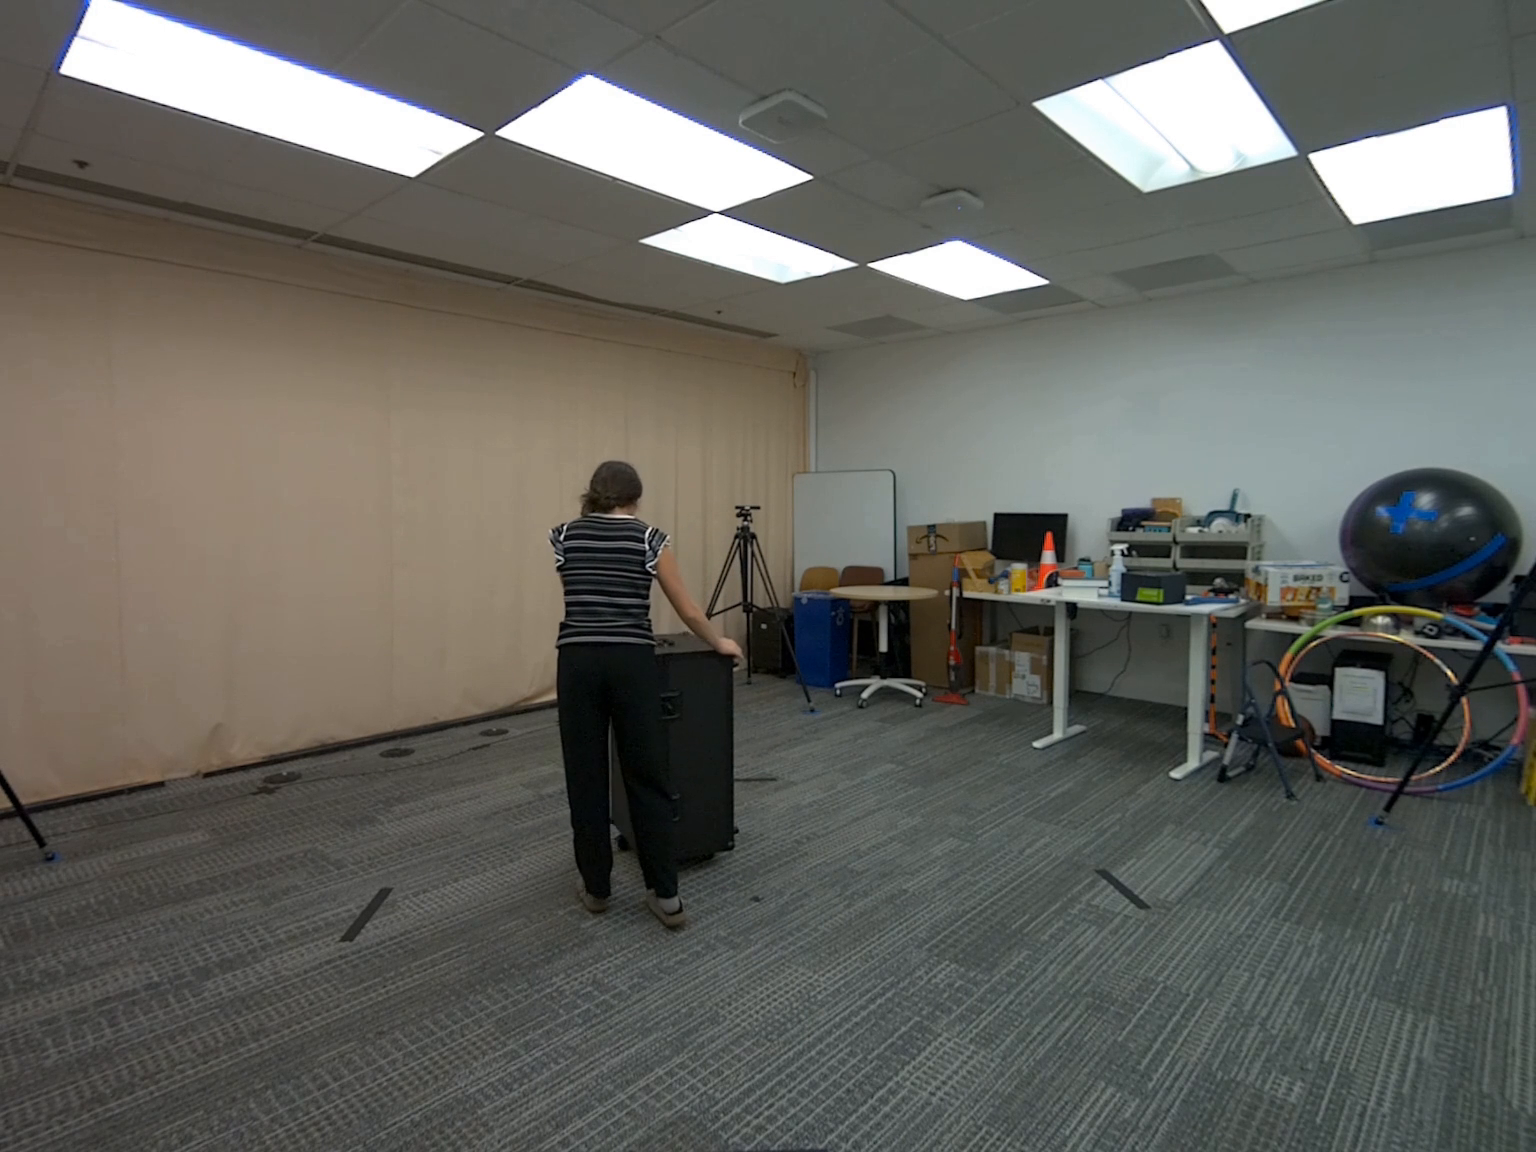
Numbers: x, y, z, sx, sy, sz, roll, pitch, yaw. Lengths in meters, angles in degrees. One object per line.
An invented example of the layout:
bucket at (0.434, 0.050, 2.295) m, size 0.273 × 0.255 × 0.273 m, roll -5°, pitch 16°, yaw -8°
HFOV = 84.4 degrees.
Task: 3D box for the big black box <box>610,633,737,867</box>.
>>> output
big black box at (-0.385, 0.688, 3.380) m, size 0.386 × 0.860 × 0.535 m, roll -1°, pitch 3°, yaw -26°
